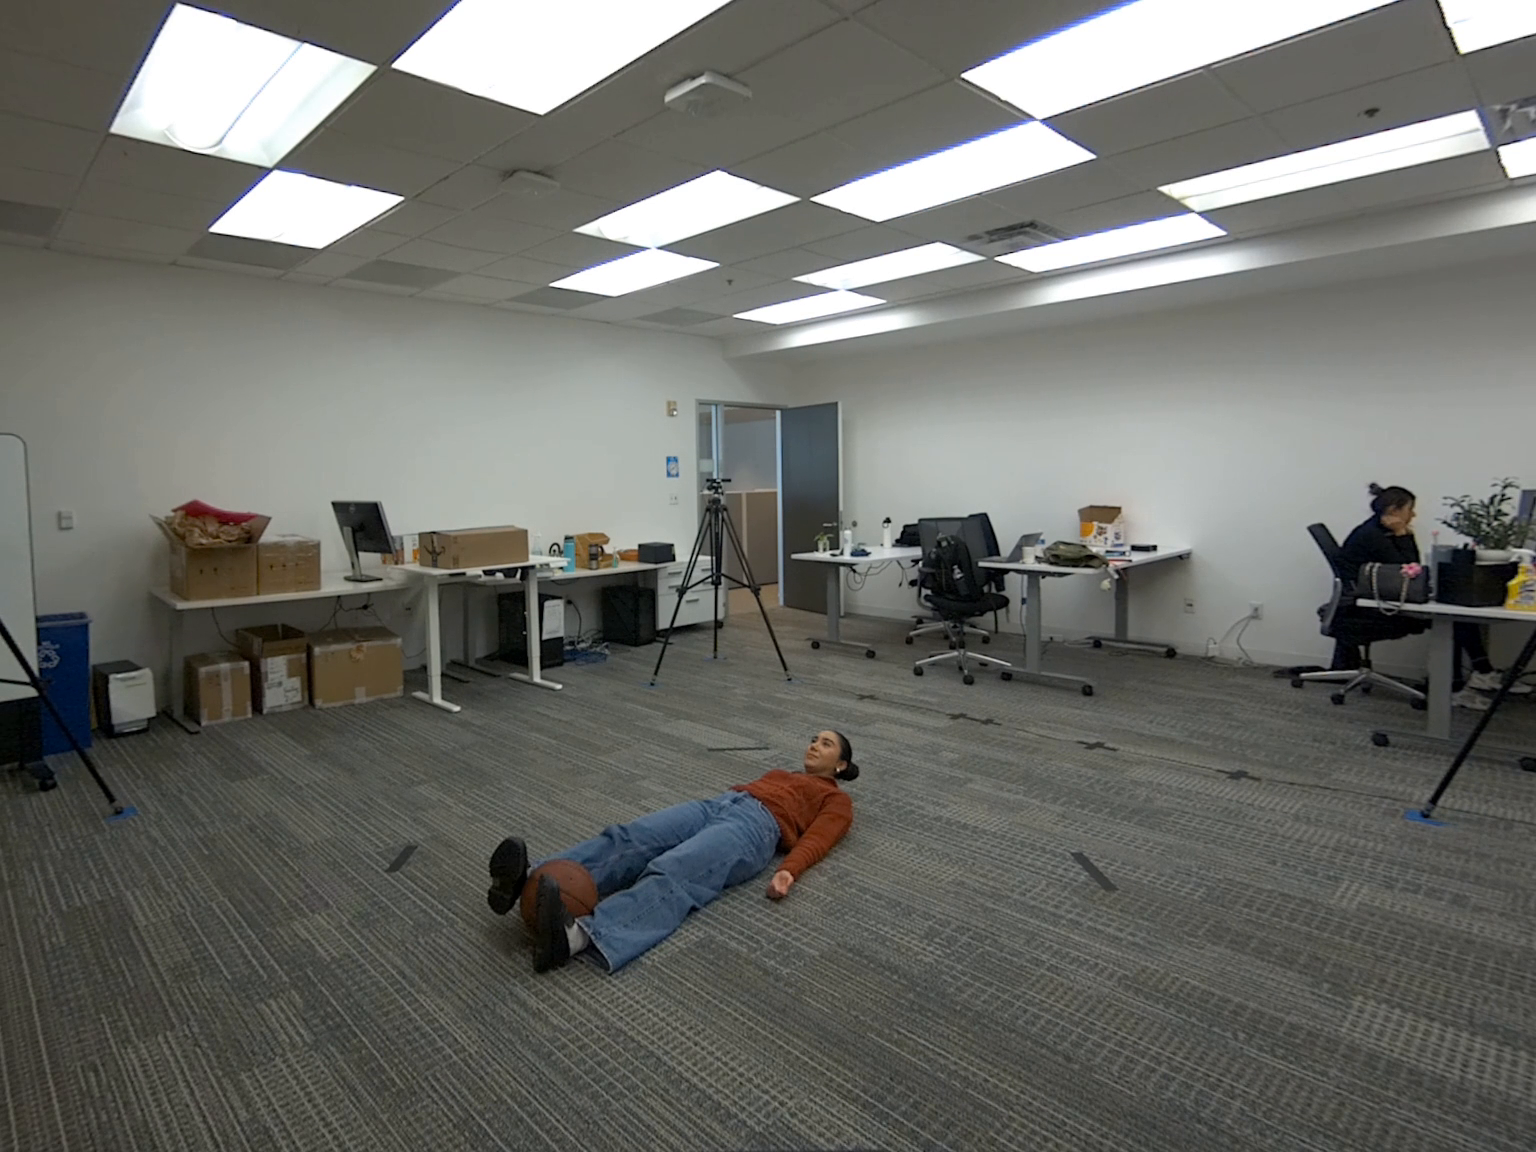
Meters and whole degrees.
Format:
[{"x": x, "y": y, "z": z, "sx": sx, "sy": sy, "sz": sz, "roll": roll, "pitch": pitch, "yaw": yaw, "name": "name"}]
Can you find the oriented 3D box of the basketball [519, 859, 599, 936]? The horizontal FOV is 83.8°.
[{"x": -0.645, "y": 1.000, "z": 2.619, "sx": 0.236, "sy": 0.235, "sz": 0.237, "roll": -1, "pitch": 5, "yaw": -2, "name": "basketball"}]
